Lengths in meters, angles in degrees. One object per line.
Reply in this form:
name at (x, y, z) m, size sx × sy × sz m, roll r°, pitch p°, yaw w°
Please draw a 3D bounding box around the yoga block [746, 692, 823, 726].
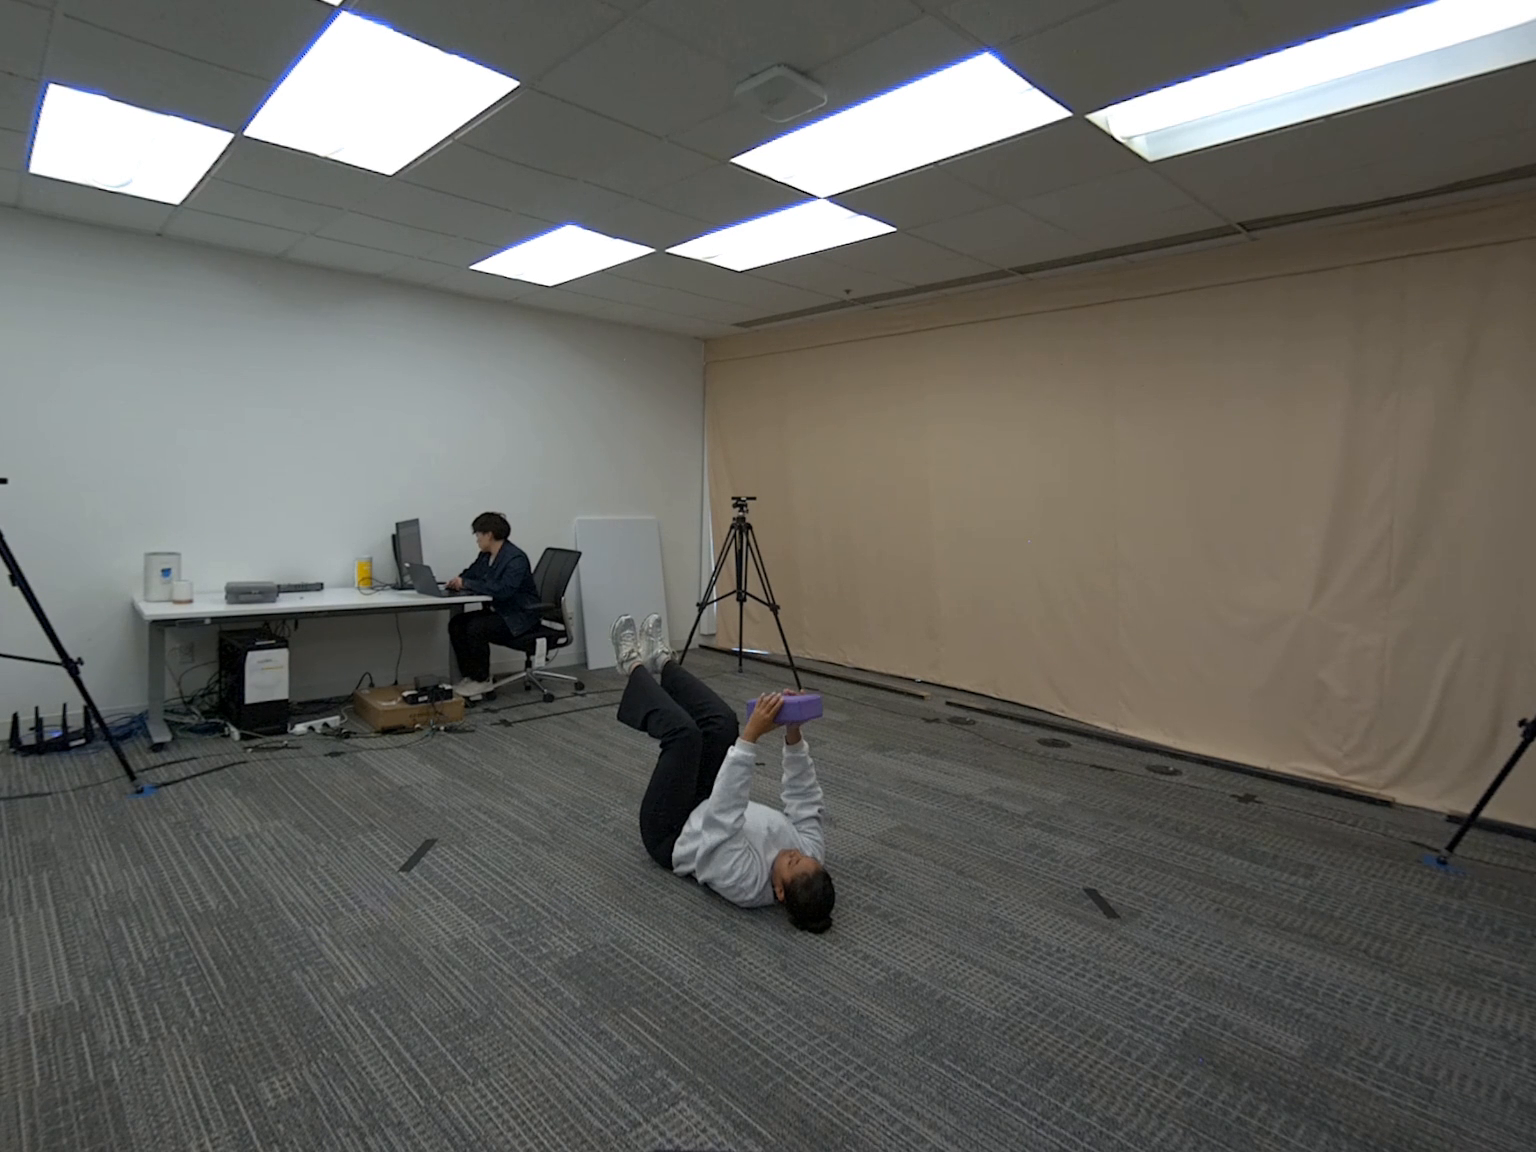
yoga block at (0.053, 0.468, 2.930) m, size 0.234 × 0.077 × 0.145 m, roll -7°, pitch -3°, yaw 35°
